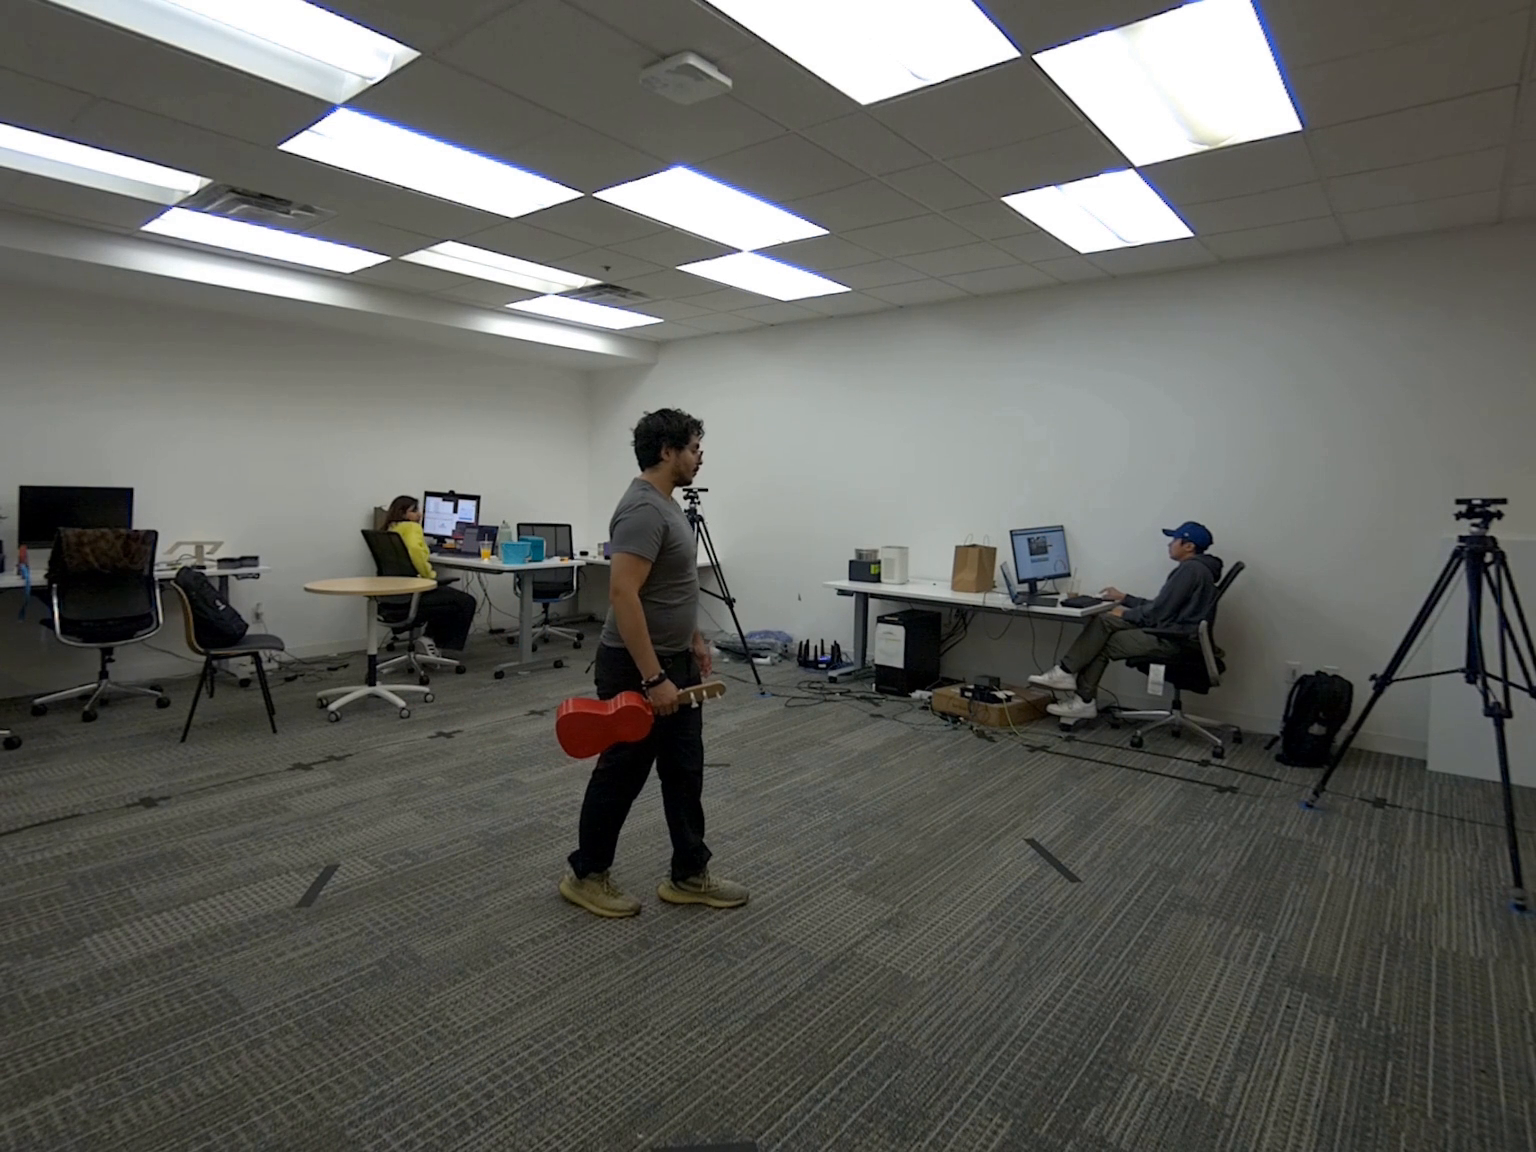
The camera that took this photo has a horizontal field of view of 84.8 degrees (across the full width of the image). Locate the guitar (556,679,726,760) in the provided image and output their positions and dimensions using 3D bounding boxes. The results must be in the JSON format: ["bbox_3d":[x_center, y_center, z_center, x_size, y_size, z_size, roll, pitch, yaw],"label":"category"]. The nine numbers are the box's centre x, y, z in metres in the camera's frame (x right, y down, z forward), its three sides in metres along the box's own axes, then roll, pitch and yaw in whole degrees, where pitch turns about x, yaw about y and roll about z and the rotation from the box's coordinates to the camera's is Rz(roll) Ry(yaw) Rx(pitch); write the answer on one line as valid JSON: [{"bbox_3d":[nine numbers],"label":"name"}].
[{"bbox_3d":[-0.371,0.368,2.462,0.498,0.186,0.073,-20,34,2],"label":"guitar"}]
